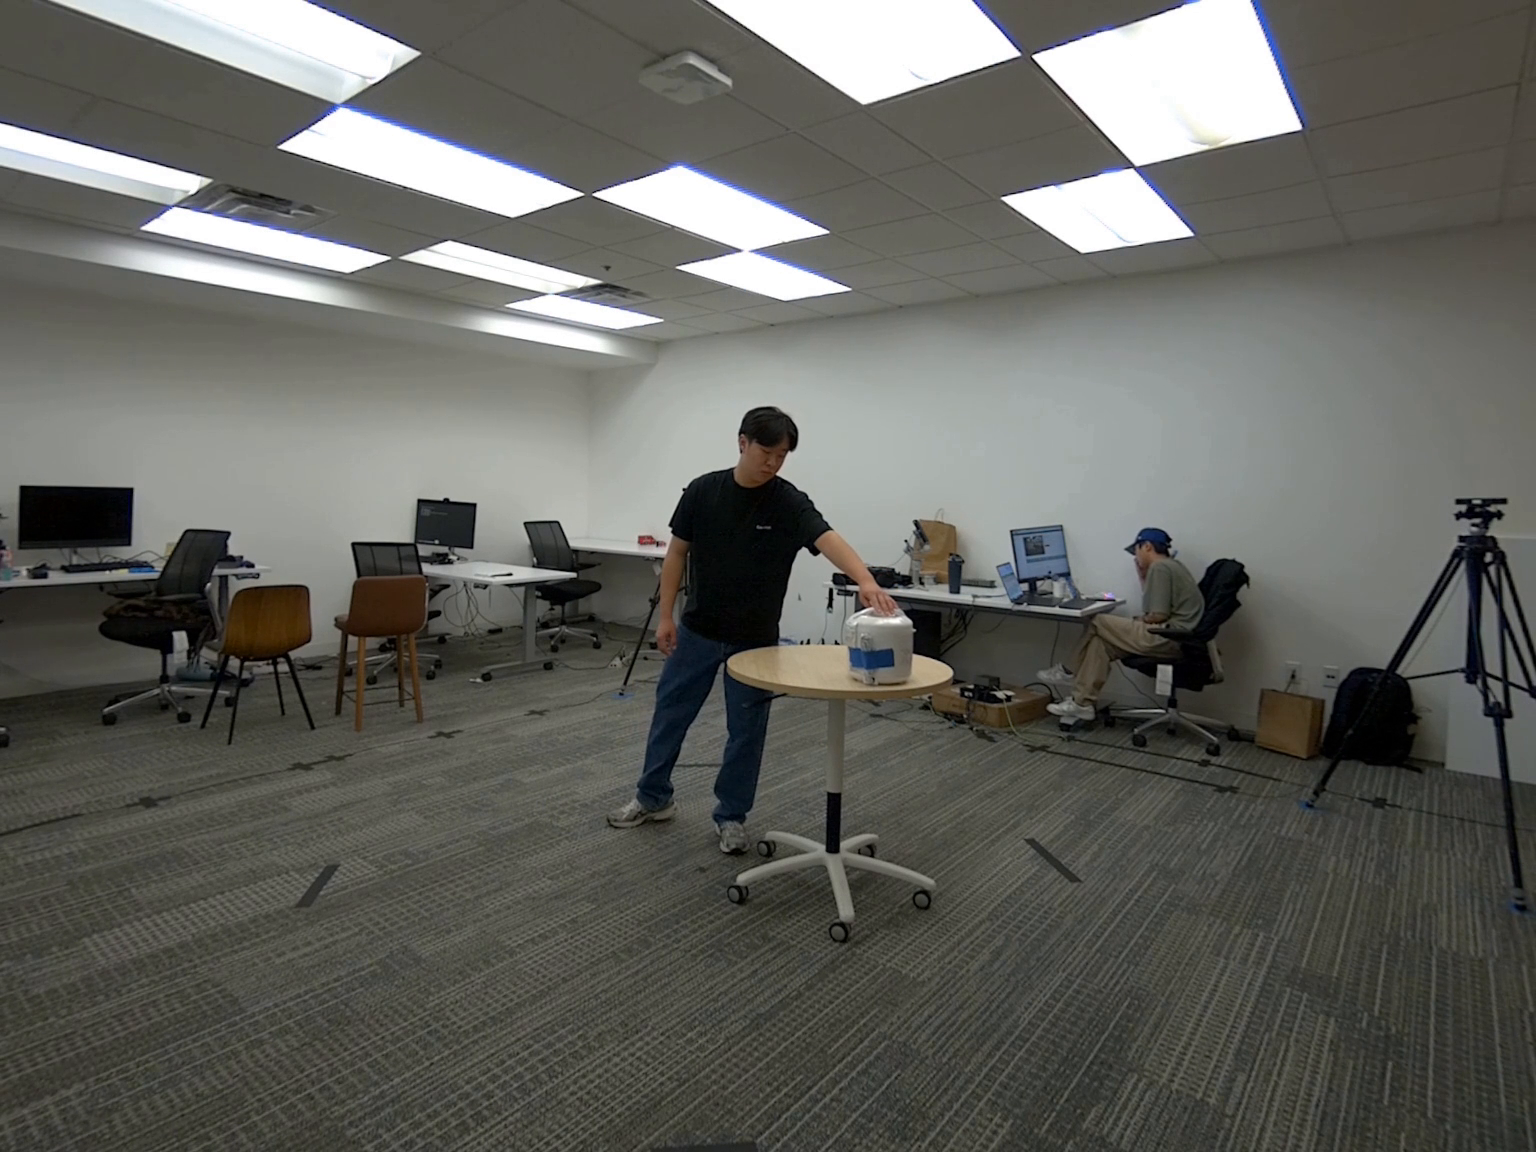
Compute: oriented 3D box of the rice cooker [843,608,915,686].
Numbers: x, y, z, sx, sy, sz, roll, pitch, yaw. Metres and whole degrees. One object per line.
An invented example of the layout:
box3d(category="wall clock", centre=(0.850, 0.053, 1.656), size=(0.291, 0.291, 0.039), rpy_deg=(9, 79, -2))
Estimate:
box3d(category="rice cooker", centre=(0.347, 0.209, 2.706), size=(0.217, 0.232, 0.222), rpy_deg=(0, 4, -17))
